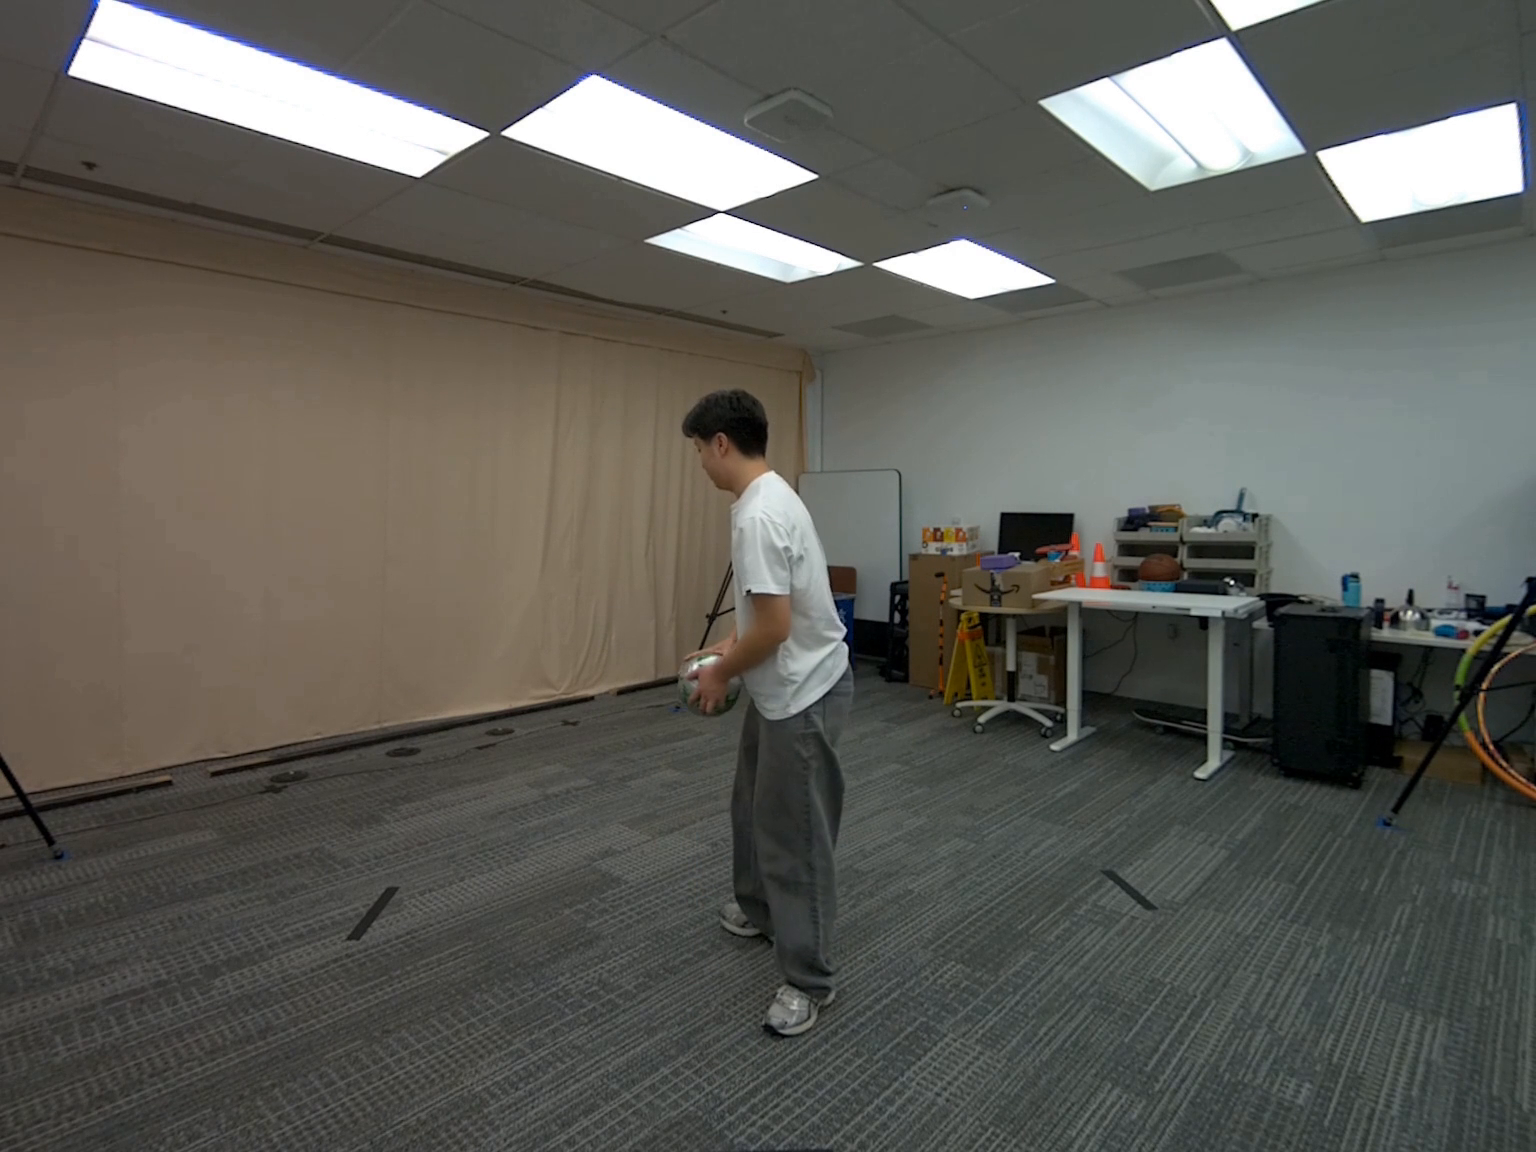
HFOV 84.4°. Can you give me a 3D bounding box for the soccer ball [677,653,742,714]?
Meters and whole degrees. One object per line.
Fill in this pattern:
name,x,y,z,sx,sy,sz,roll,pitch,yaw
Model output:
soccer ball,-0.153,0.335,2.465,0.187,0.187,0.188,0,4,-2
